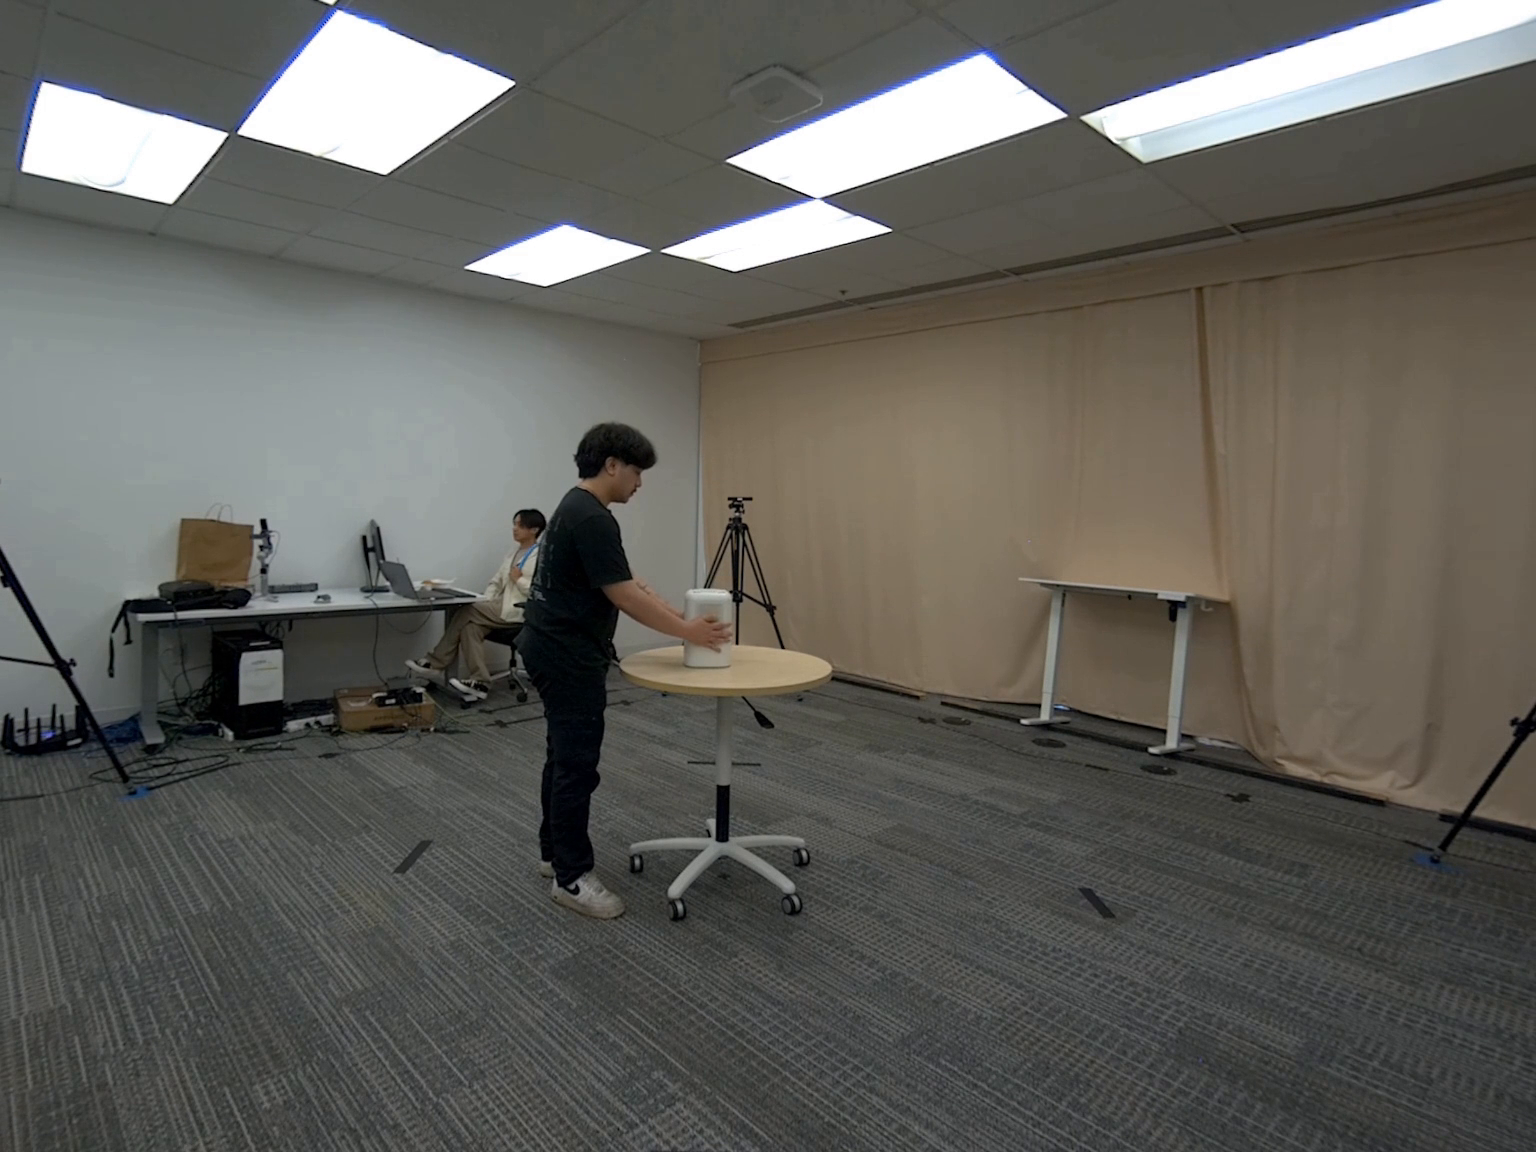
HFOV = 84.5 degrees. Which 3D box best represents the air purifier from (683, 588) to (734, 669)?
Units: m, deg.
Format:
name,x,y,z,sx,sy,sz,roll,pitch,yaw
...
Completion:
name,x,y,z,sx,sy,sz,roll,pitch,yaw
air purifier,-0.226,0.183,3.045,0.171,0.264,0.172,2,4,-4
